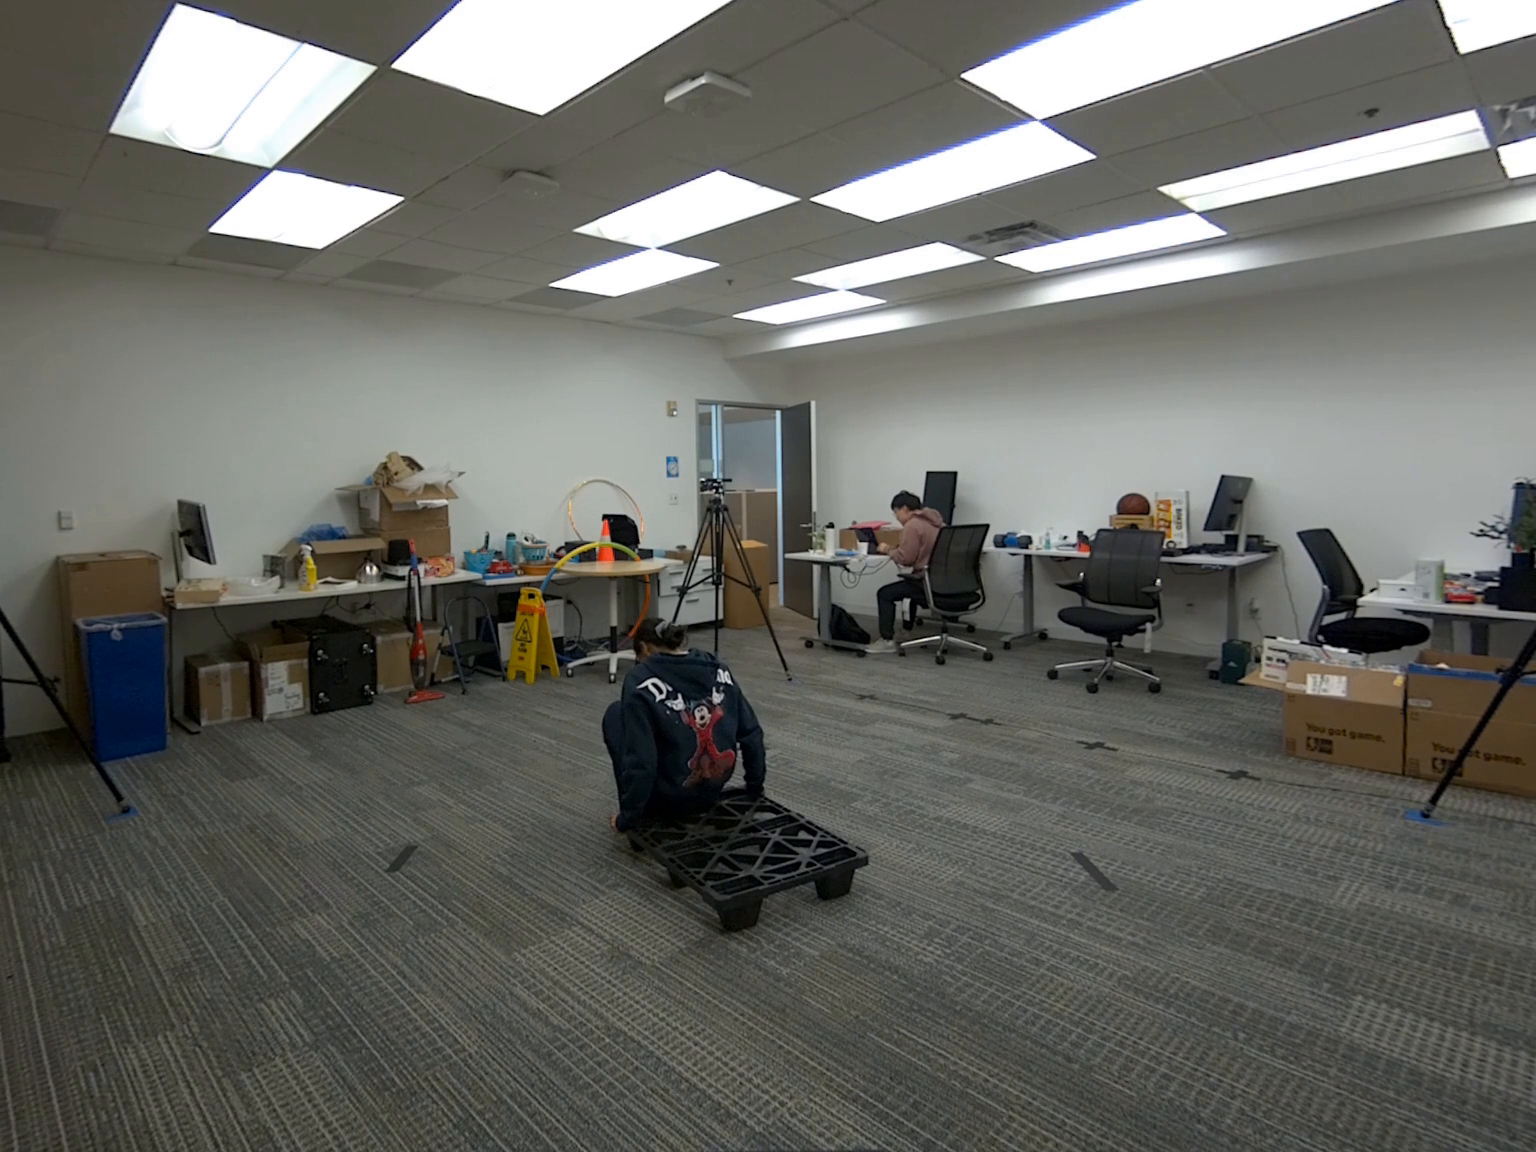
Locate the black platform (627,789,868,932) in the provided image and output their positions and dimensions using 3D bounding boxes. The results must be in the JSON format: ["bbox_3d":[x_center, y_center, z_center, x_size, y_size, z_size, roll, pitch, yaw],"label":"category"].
[{"bbox_3d":[-0.117,0.987,3.049,0.591,0.143,0.828,-6,7,-31],"label":"black platform"}]
